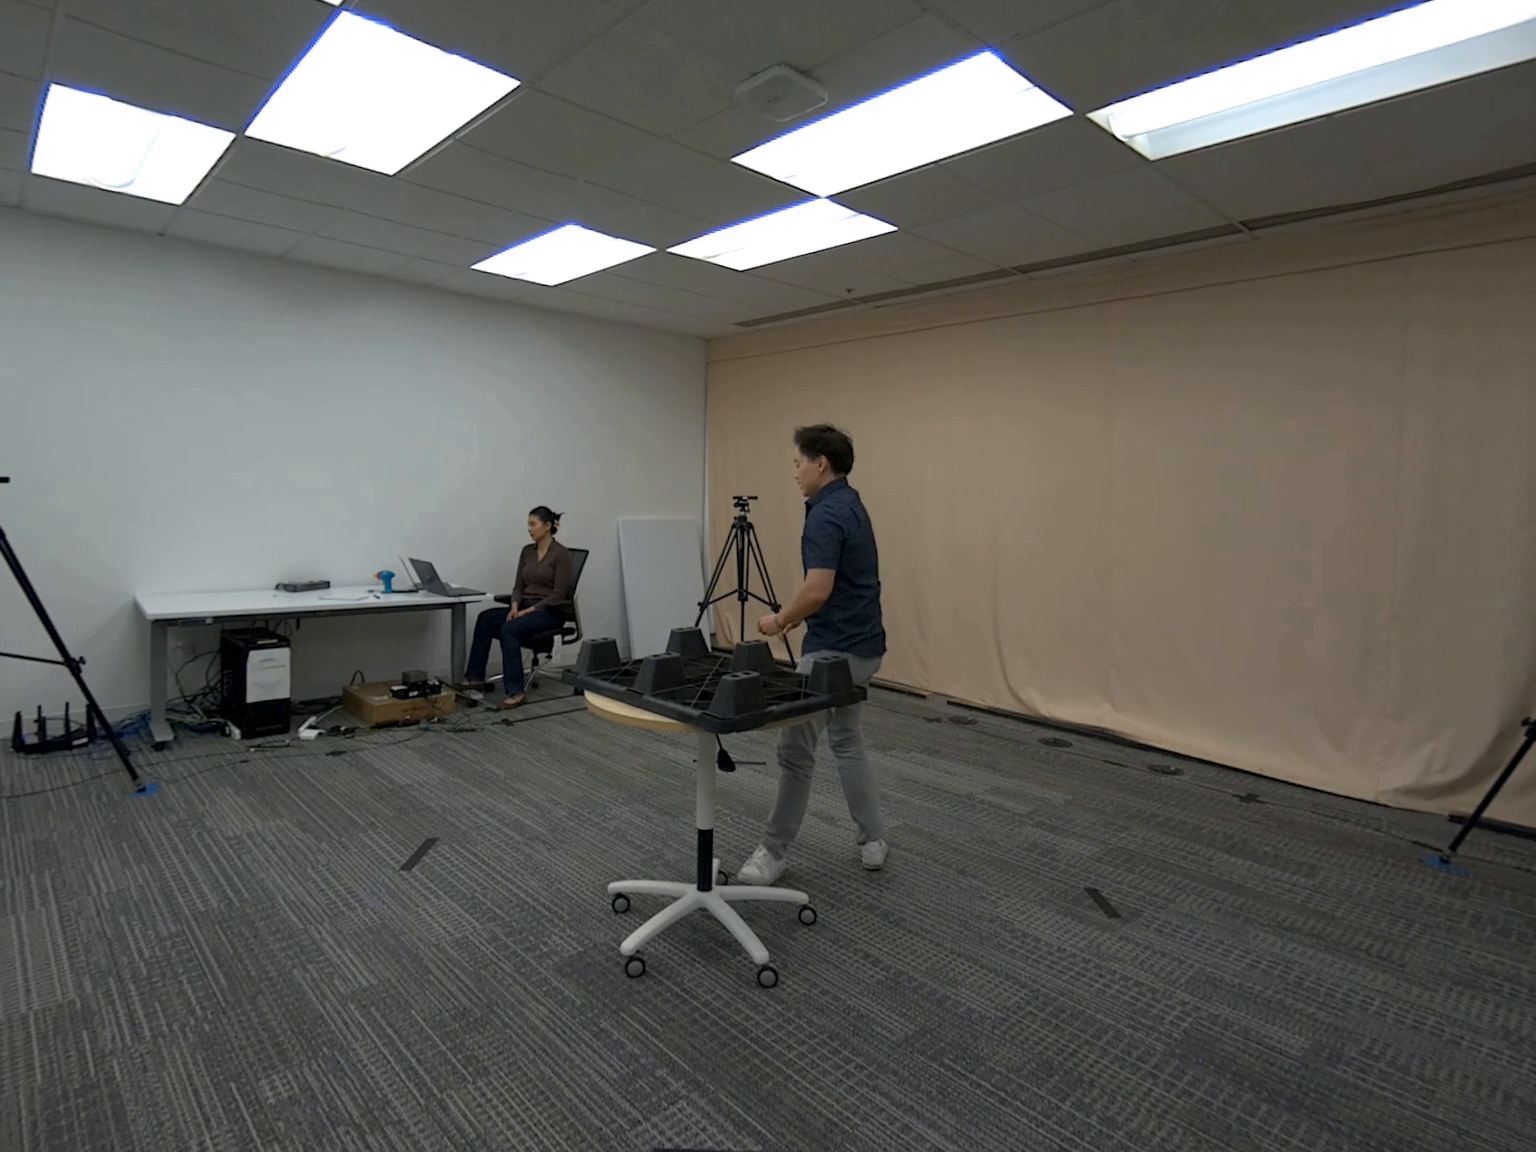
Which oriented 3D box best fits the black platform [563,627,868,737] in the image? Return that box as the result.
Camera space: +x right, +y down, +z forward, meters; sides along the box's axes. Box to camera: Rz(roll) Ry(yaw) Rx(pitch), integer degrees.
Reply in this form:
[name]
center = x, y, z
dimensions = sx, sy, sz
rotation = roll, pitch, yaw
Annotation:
[black platform]
center = -0.197, 0.298, 2.632
dimensions = 0.591, 0.143, 0.826
rotation = -4, 7, -44
